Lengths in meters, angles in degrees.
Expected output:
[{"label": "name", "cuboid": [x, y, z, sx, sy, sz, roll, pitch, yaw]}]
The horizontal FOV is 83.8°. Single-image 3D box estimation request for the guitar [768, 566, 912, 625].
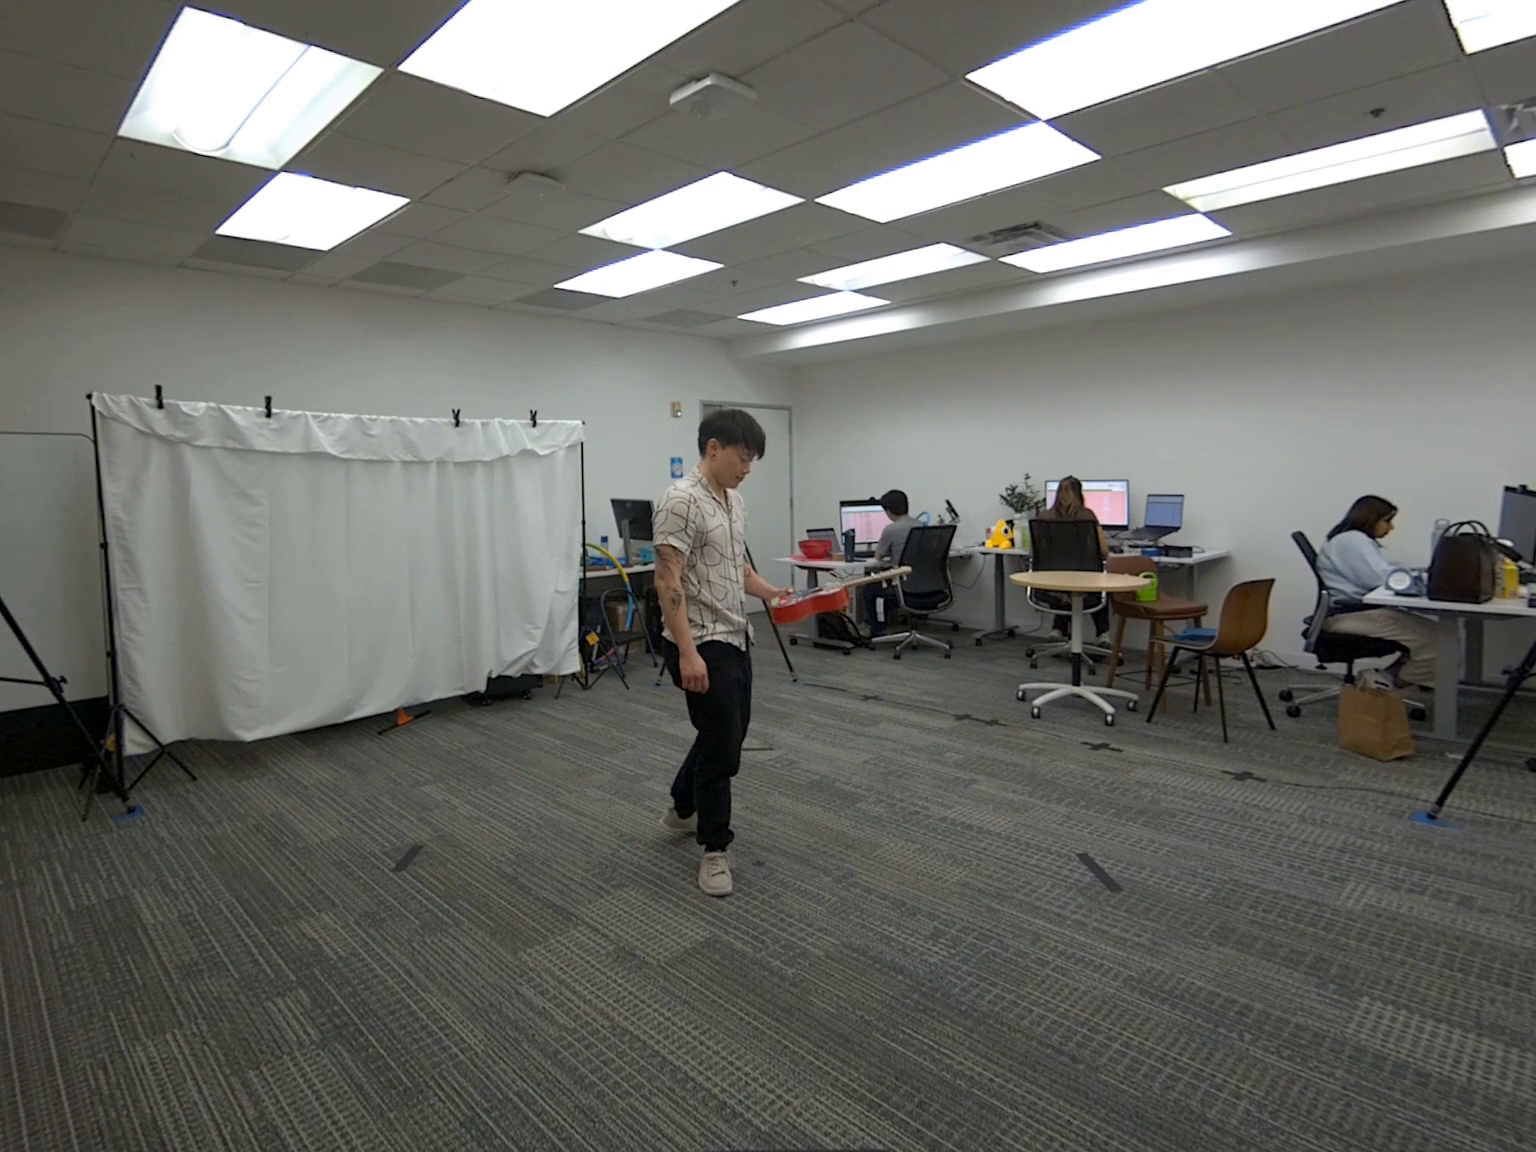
[{"label": "guitar", "cuboid": [0.233, 0.073, 2.870, 0.506, 0.070, 0.192, -10, 10, 21]}]
